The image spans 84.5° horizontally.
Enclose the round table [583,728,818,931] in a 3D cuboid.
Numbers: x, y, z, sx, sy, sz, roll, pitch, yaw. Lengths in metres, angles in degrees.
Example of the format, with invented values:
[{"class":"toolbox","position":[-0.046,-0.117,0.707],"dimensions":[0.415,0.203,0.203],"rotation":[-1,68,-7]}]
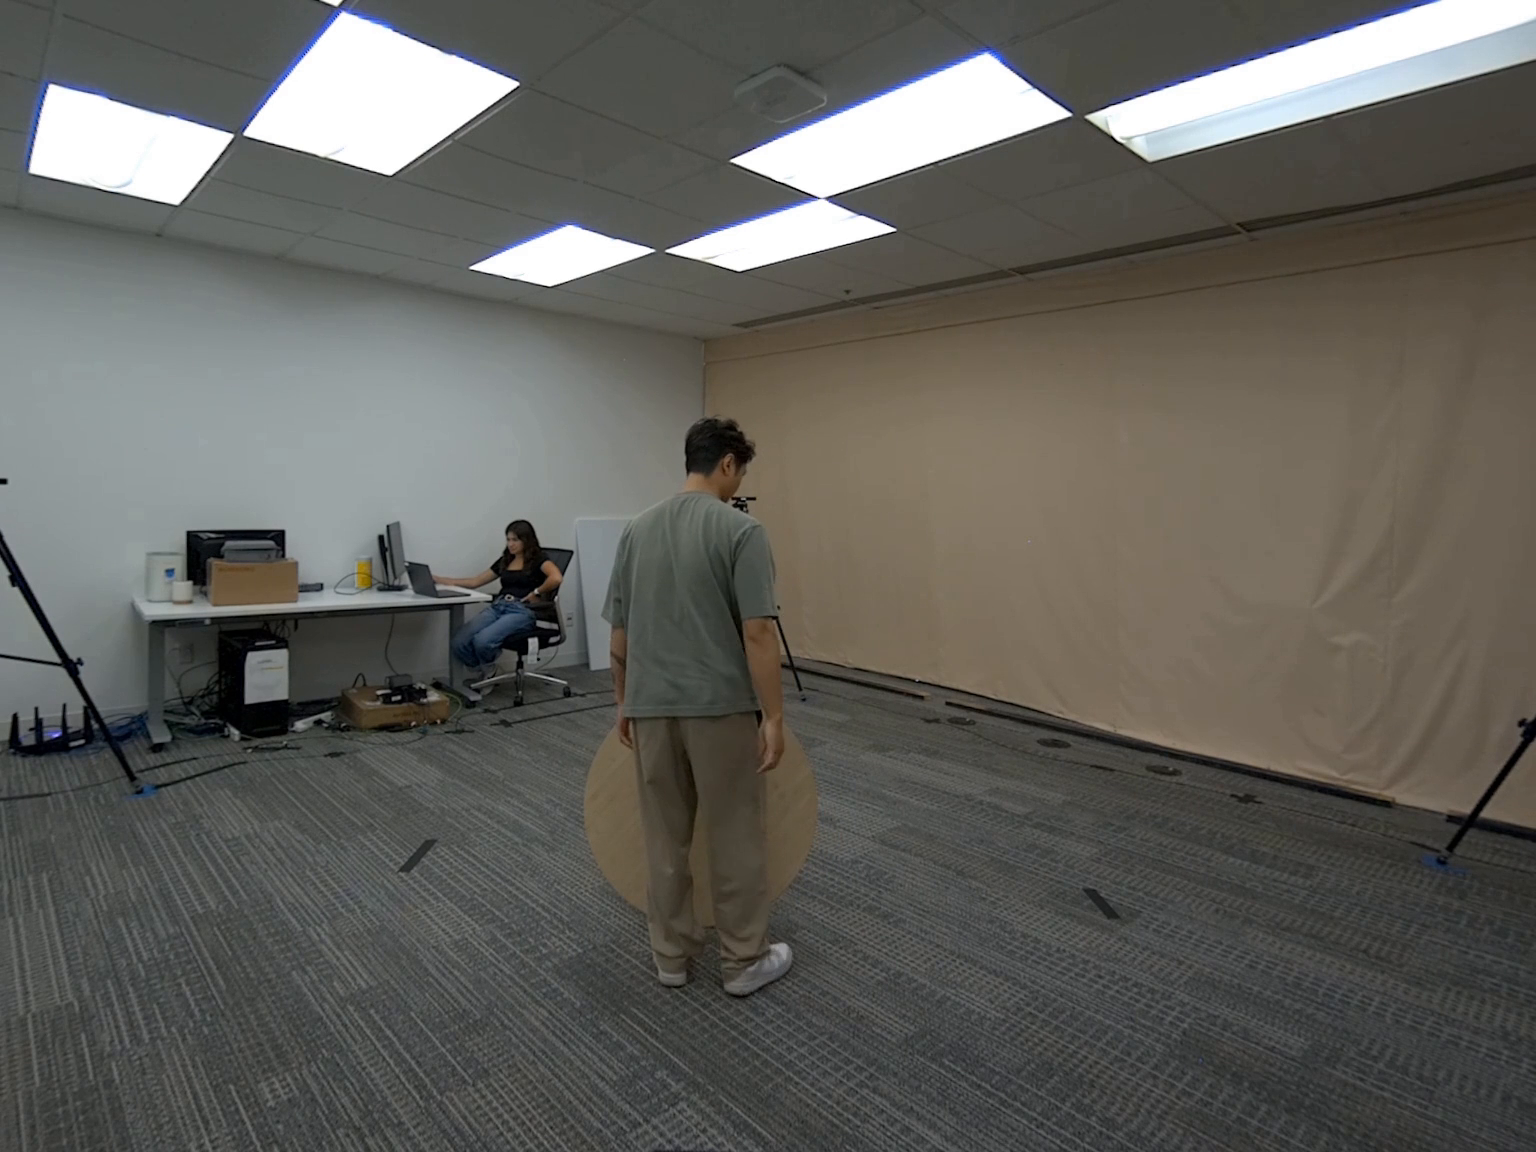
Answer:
[{"class":"round table","position":[-0.254,0.757,3.148],"dimensions":[0.783,0.786,0.787],"rotation":[1,-2,-3]}]
